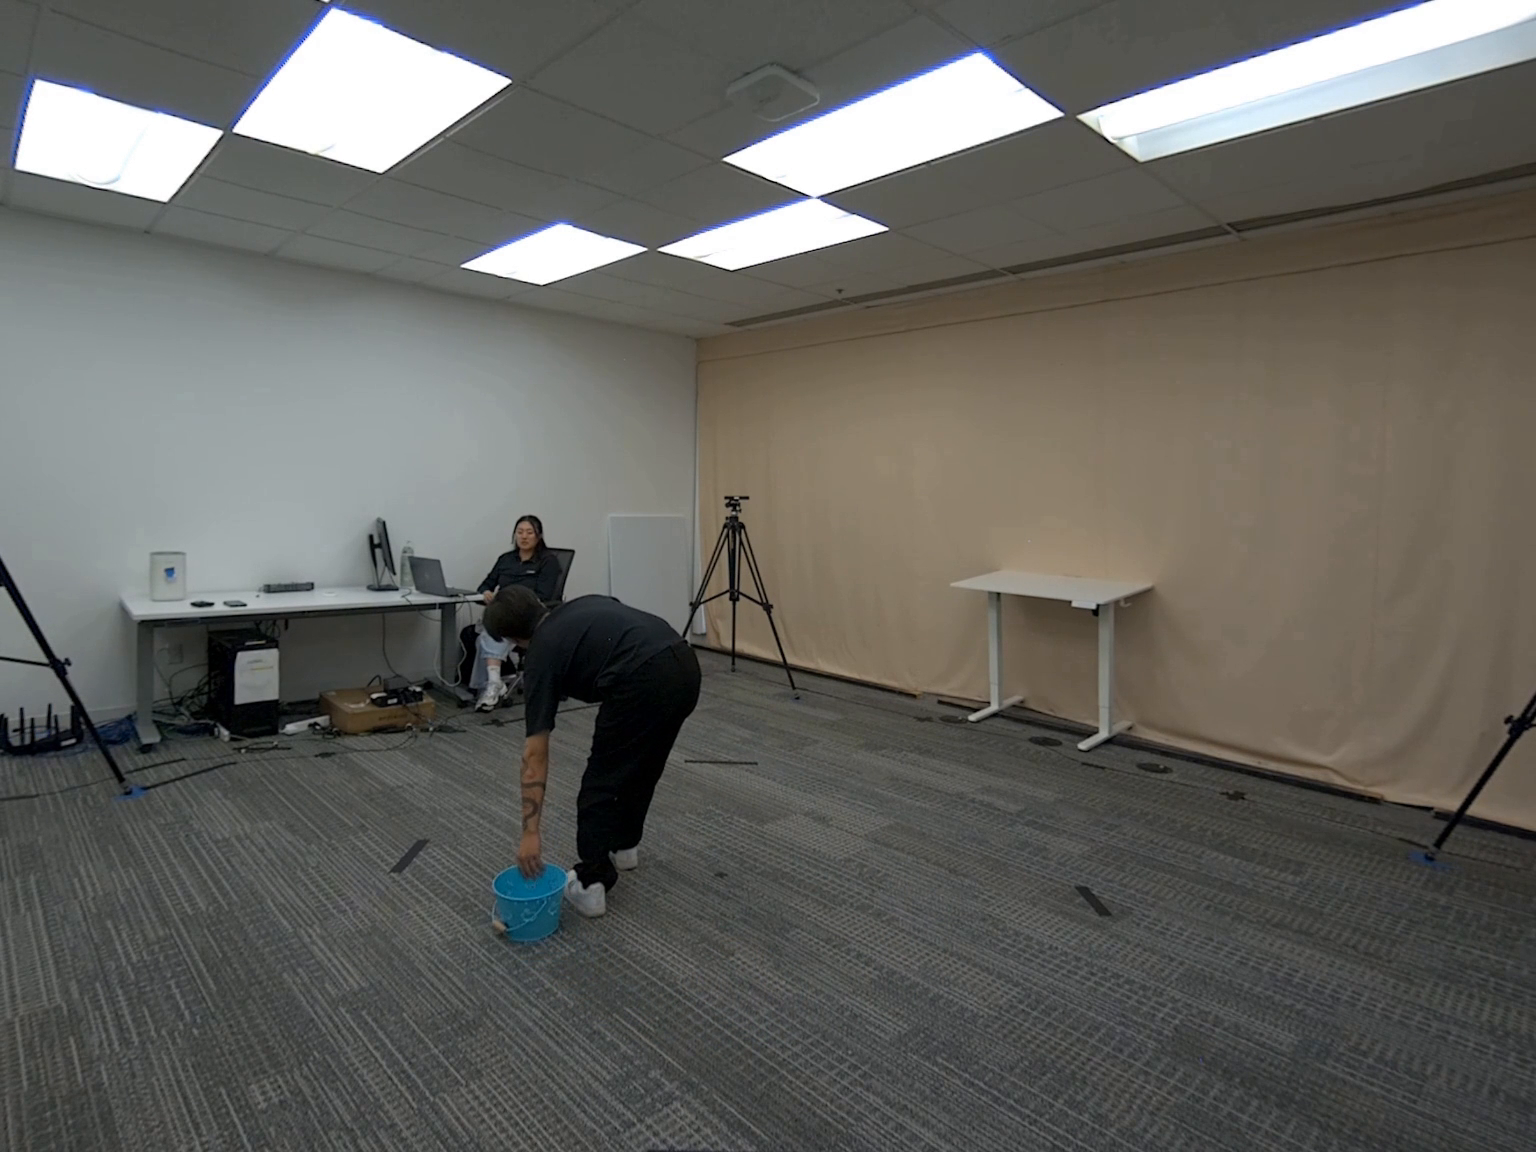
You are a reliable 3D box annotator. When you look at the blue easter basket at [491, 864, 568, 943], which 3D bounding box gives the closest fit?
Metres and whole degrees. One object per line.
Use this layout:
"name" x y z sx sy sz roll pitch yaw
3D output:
"blue easter basket" -0.763 1.049 2.690 0.243 0.155 0.245 2 8 -2
